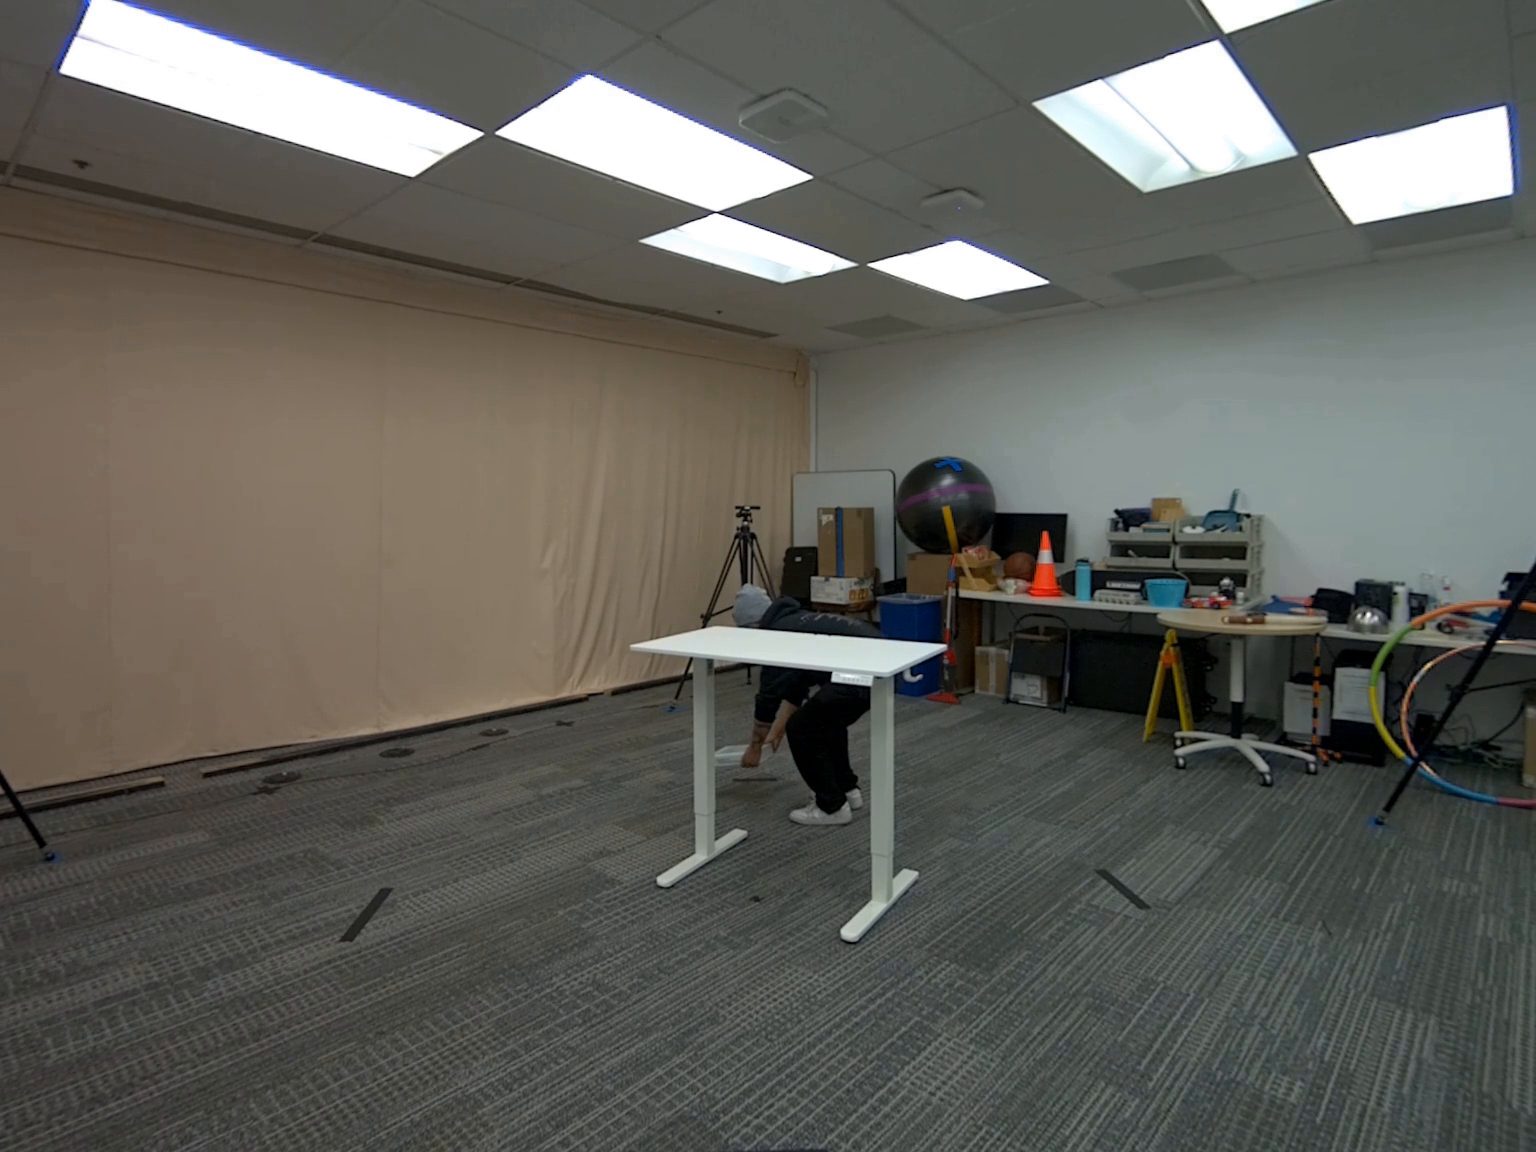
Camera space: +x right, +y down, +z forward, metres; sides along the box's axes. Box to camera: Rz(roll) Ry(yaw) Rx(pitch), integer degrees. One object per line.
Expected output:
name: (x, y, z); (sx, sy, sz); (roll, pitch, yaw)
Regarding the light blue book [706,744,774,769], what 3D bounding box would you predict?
light blue book: (-0.135, 0.861, 4.060); (0.267, 0.059, 0.187); (-9, 0, 27)
